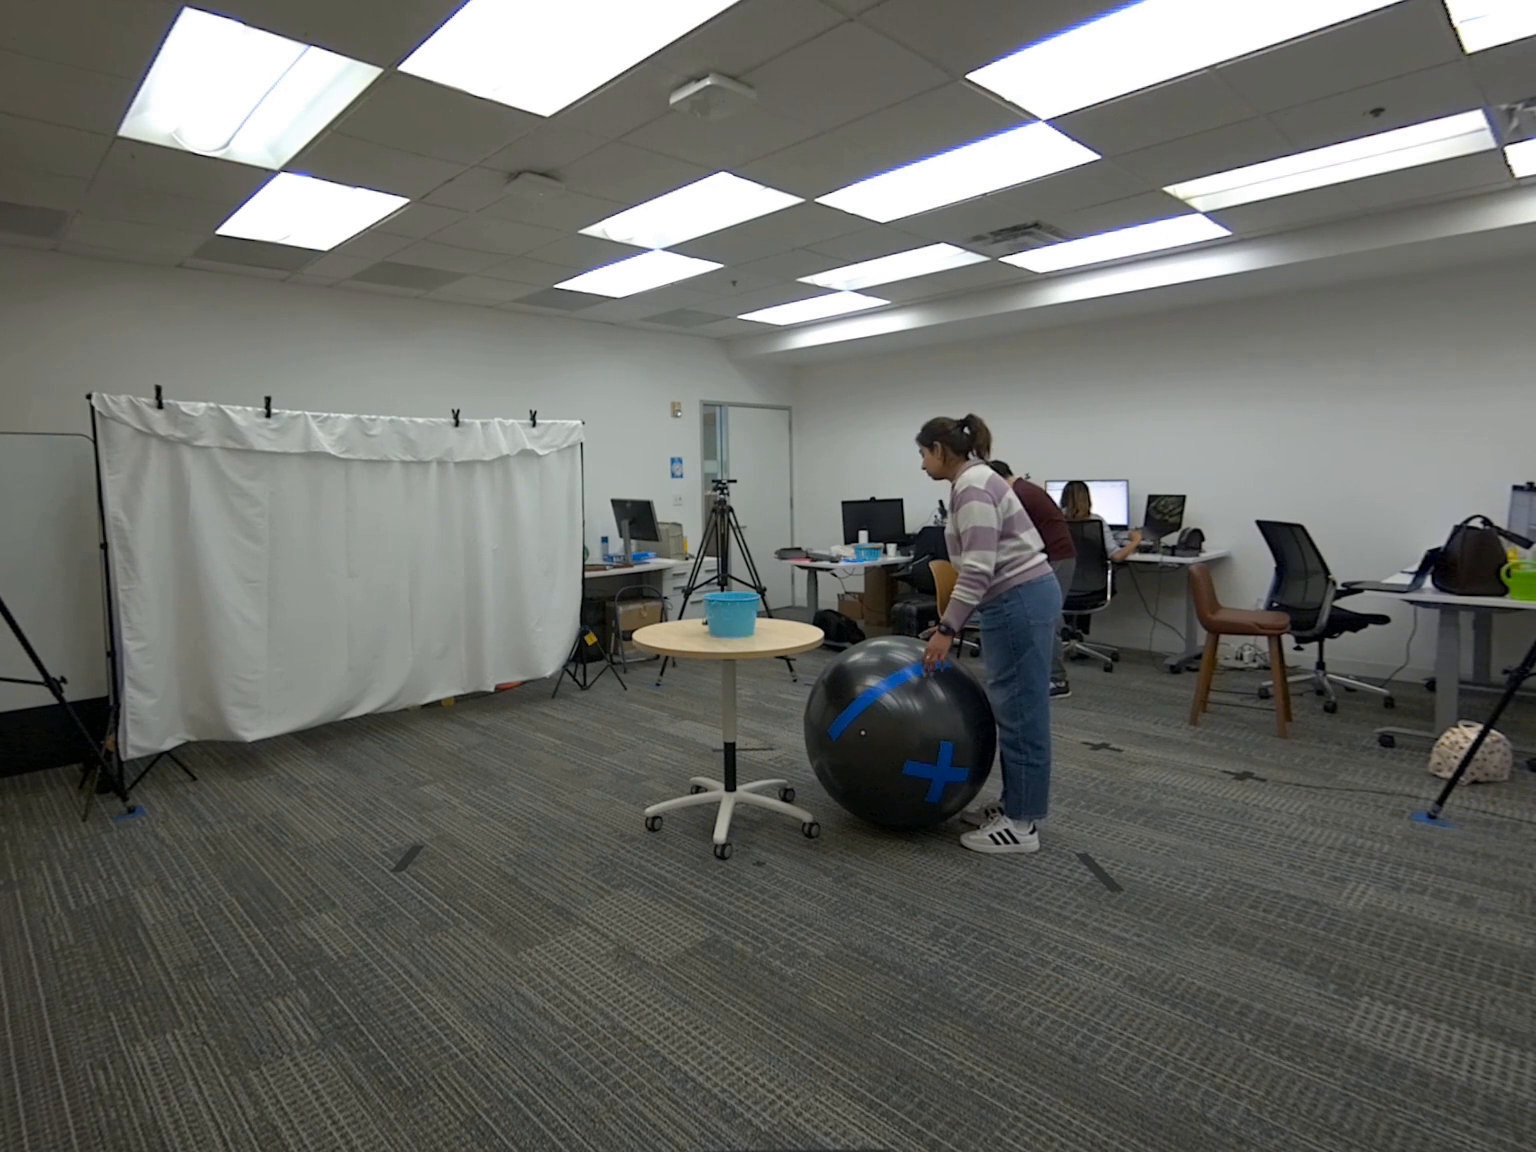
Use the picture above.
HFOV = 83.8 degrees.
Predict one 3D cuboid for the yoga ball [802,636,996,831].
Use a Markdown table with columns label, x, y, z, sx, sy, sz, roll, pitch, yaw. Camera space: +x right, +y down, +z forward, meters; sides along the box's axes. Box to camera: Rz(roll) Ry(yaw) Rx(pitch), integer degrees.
| label | x | y | z | sx | sy | sz | roll | pitch | yaw |
| --- | --- | --- | --- | --- | --- | --- | --- | --- | --- |
| yoga ball | 0.529 | 0.629 | 3.452 | 0.757 | 0.755 | 0.762 | -1 | 5 | -2 |
